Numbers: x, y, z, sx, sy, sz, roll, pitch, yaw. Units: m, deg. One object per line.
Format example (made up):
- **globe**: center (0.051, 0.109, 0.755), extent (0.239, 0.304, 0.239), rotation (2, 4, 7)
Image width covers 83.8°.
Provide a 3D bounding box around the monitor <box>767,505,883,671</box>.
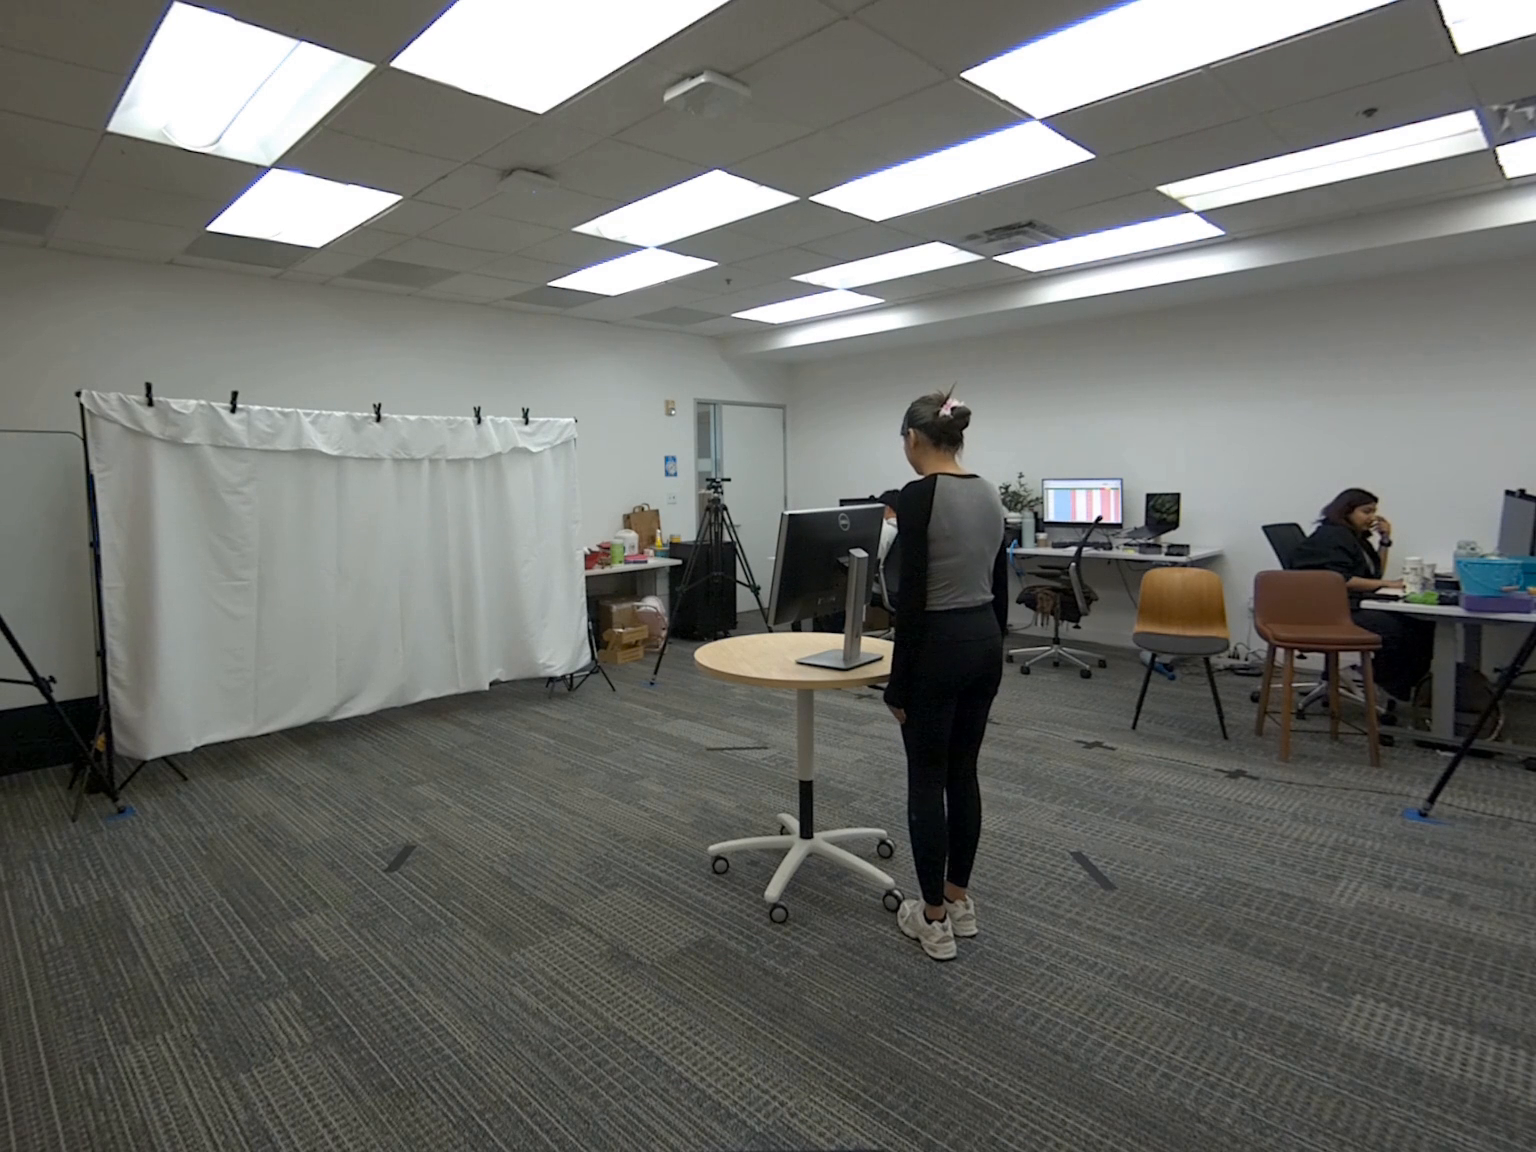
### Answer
- **monitor**: center (0.232, 0.035, 2.810), extent (0.179, 0.516, 0.517), rotation (-7, 1, 40)
